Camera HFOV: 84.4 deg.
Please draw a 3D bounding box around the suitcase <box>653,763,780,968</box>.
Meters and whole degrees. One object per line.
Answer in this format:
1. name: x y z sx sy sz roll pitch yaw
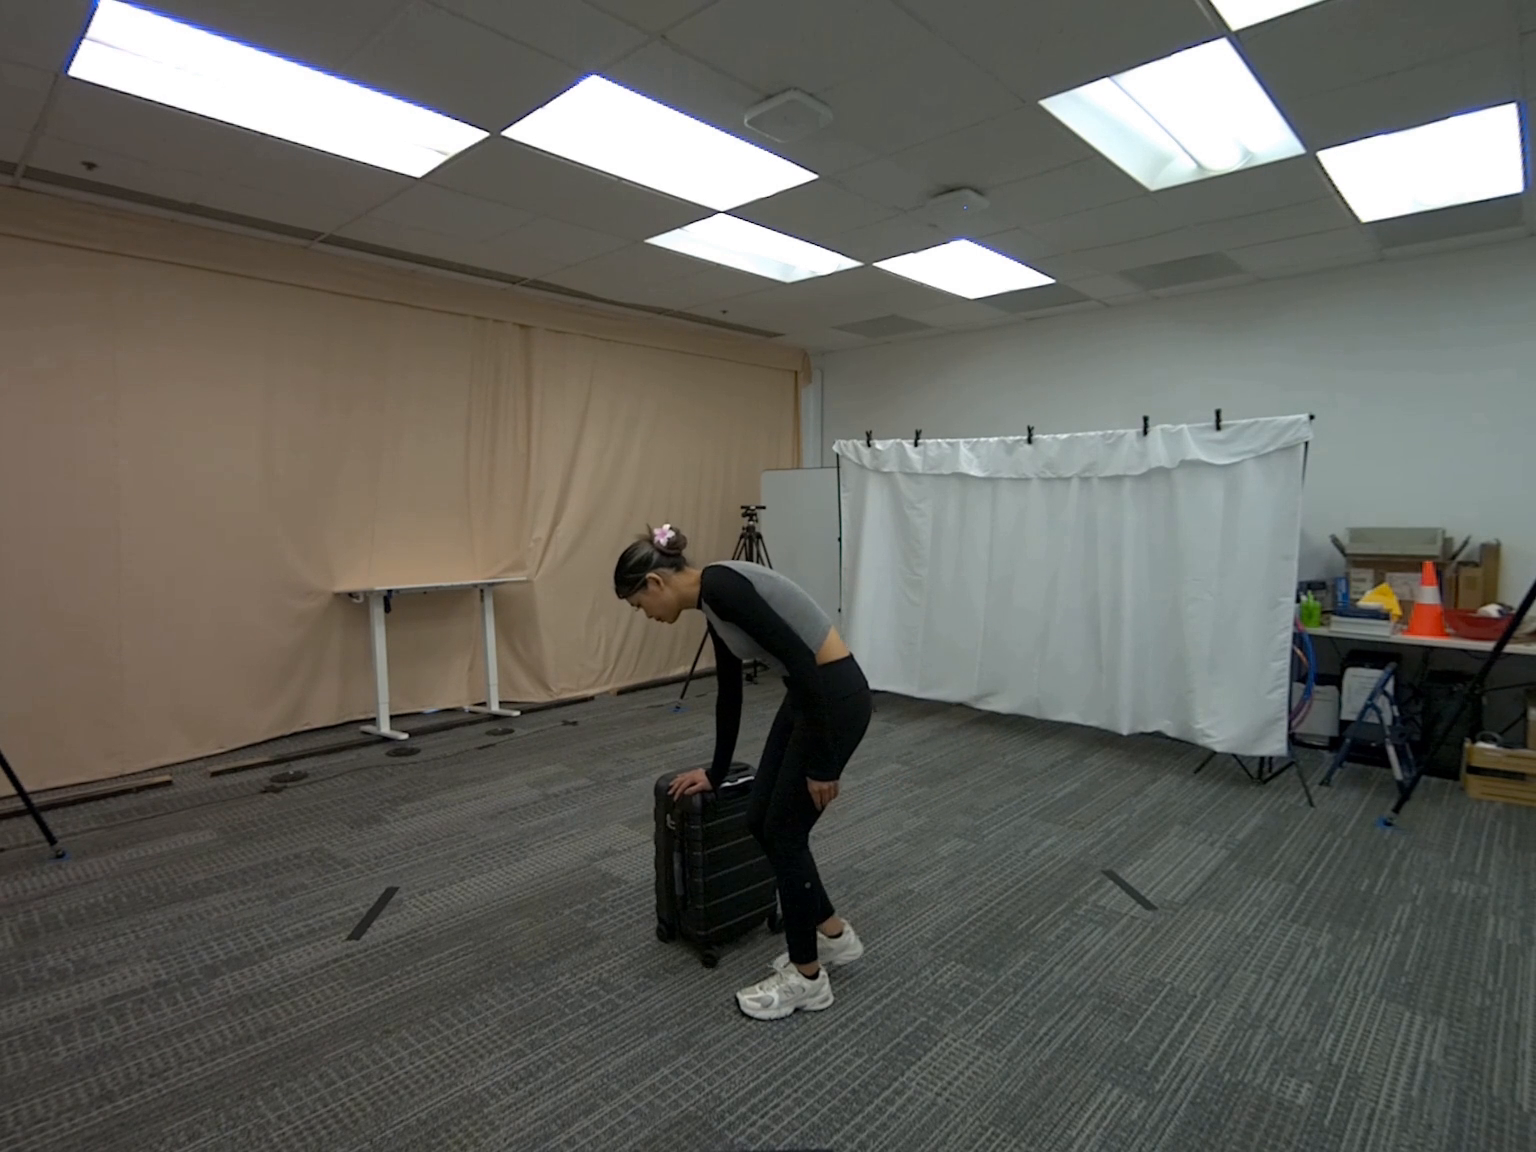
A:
1. suitcase: -0.168 0.892 2.719 0.364 0.548 0.256 -5 3 -40
